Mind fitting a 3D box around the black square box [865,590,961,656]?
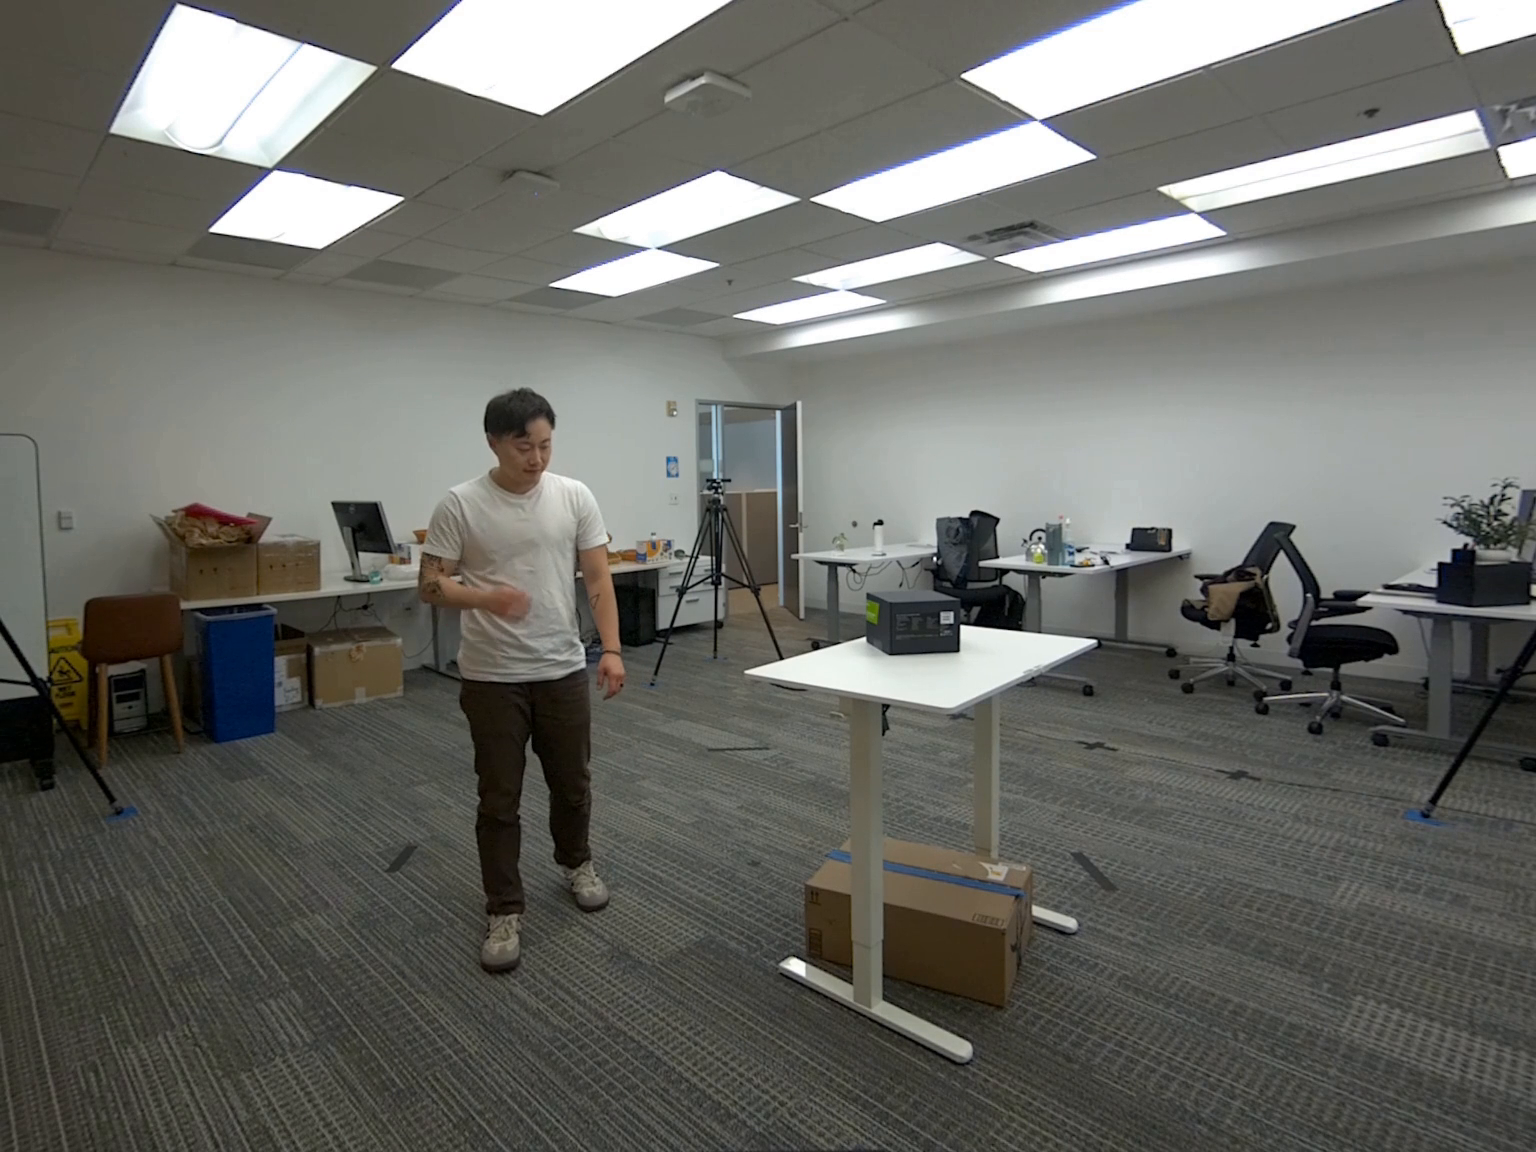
[{"bbox_3d":[0.438,0.133,2.578,0.215,0.155,0.231,-1,6,-12],"label":"black square box"}]
